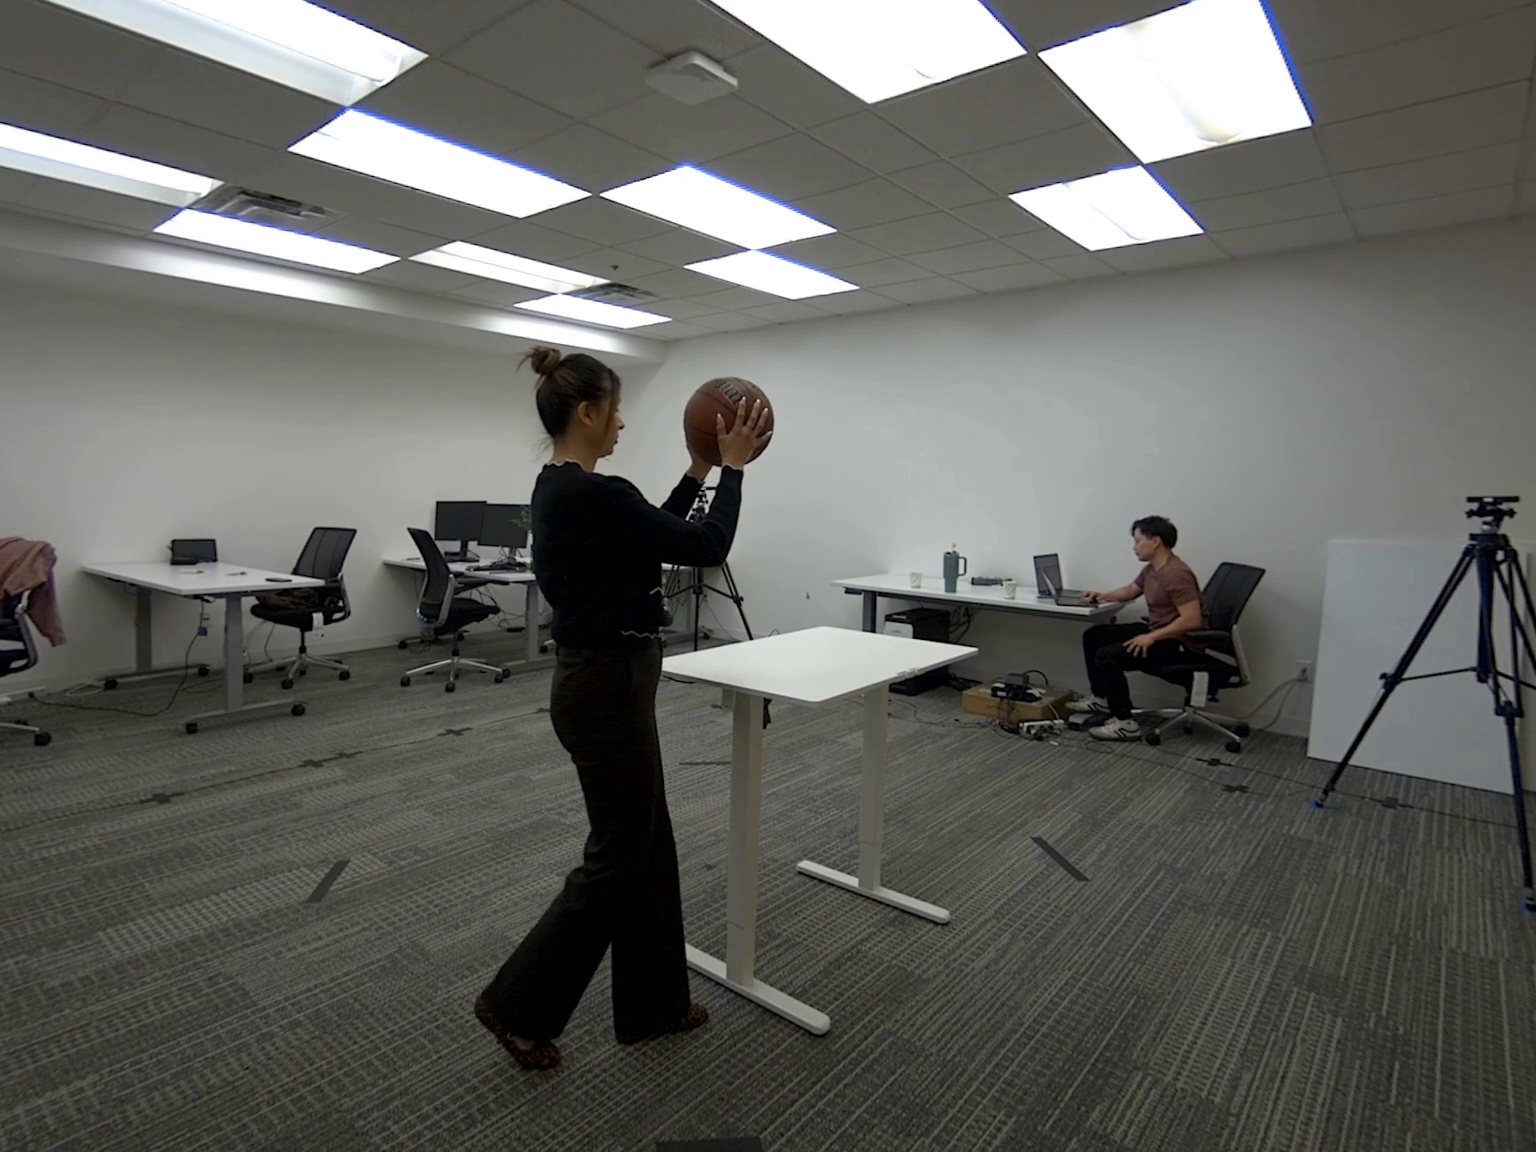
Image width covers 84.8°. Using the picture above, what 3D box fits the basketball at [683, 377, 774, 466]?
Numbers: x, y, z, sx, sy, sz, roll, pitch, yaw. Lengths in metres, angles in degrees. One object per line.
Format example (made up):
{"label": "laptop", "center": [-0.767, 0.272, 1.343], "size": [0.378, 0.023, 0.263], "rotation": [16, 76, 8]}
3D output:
{"label": "basketball", "center": [-0.101, -0.400, 2.203], "size": [0.235, 0.235, 0.237], "rotation": [1, 4, -2]}
